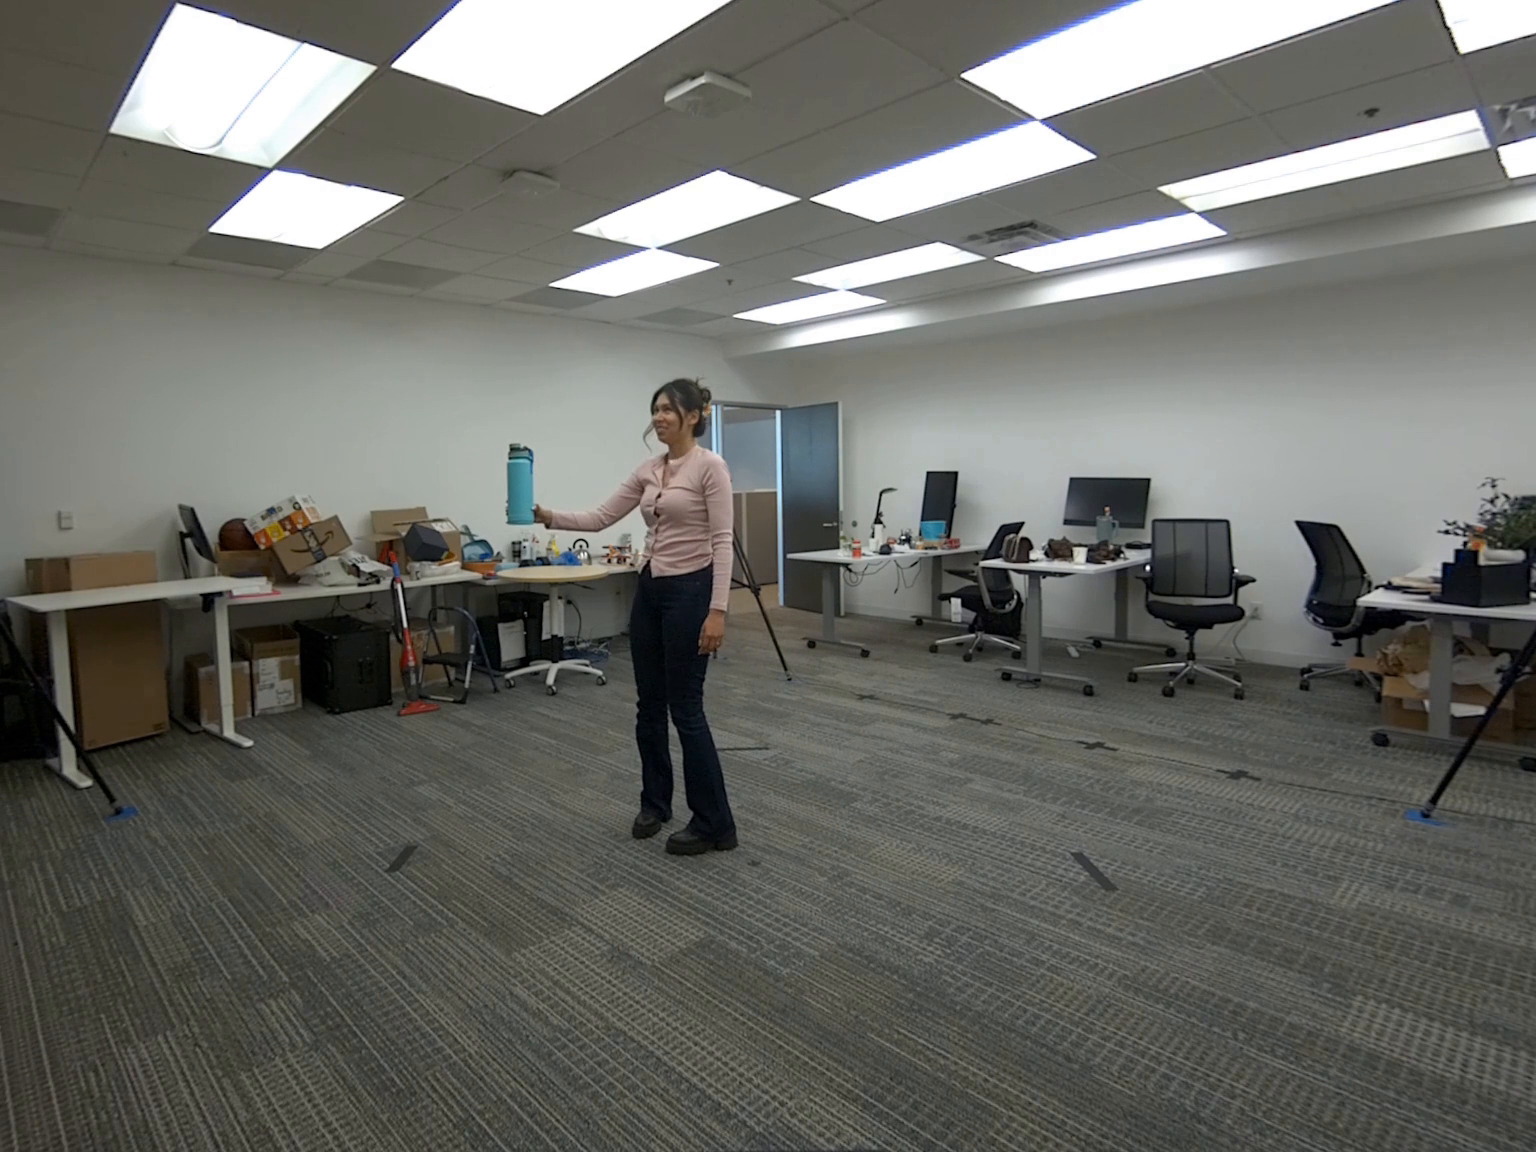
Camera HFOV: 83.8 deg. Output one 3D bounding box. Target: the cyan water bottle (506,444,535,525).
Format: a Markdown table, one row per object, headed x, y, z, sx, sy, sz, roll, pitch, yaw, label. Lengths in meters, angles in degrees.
| x | y | z | sx | sy | sz | roll | pitch | yaw | label |
| --- | --- | --- | --- | --- | --- | --- | --- | --- | --- |
| -0.868 | -0.325 | 3.013 | 0.092 | 0.283 | 0.092 | 0 | 0 | -2 | cyan water bottle |
